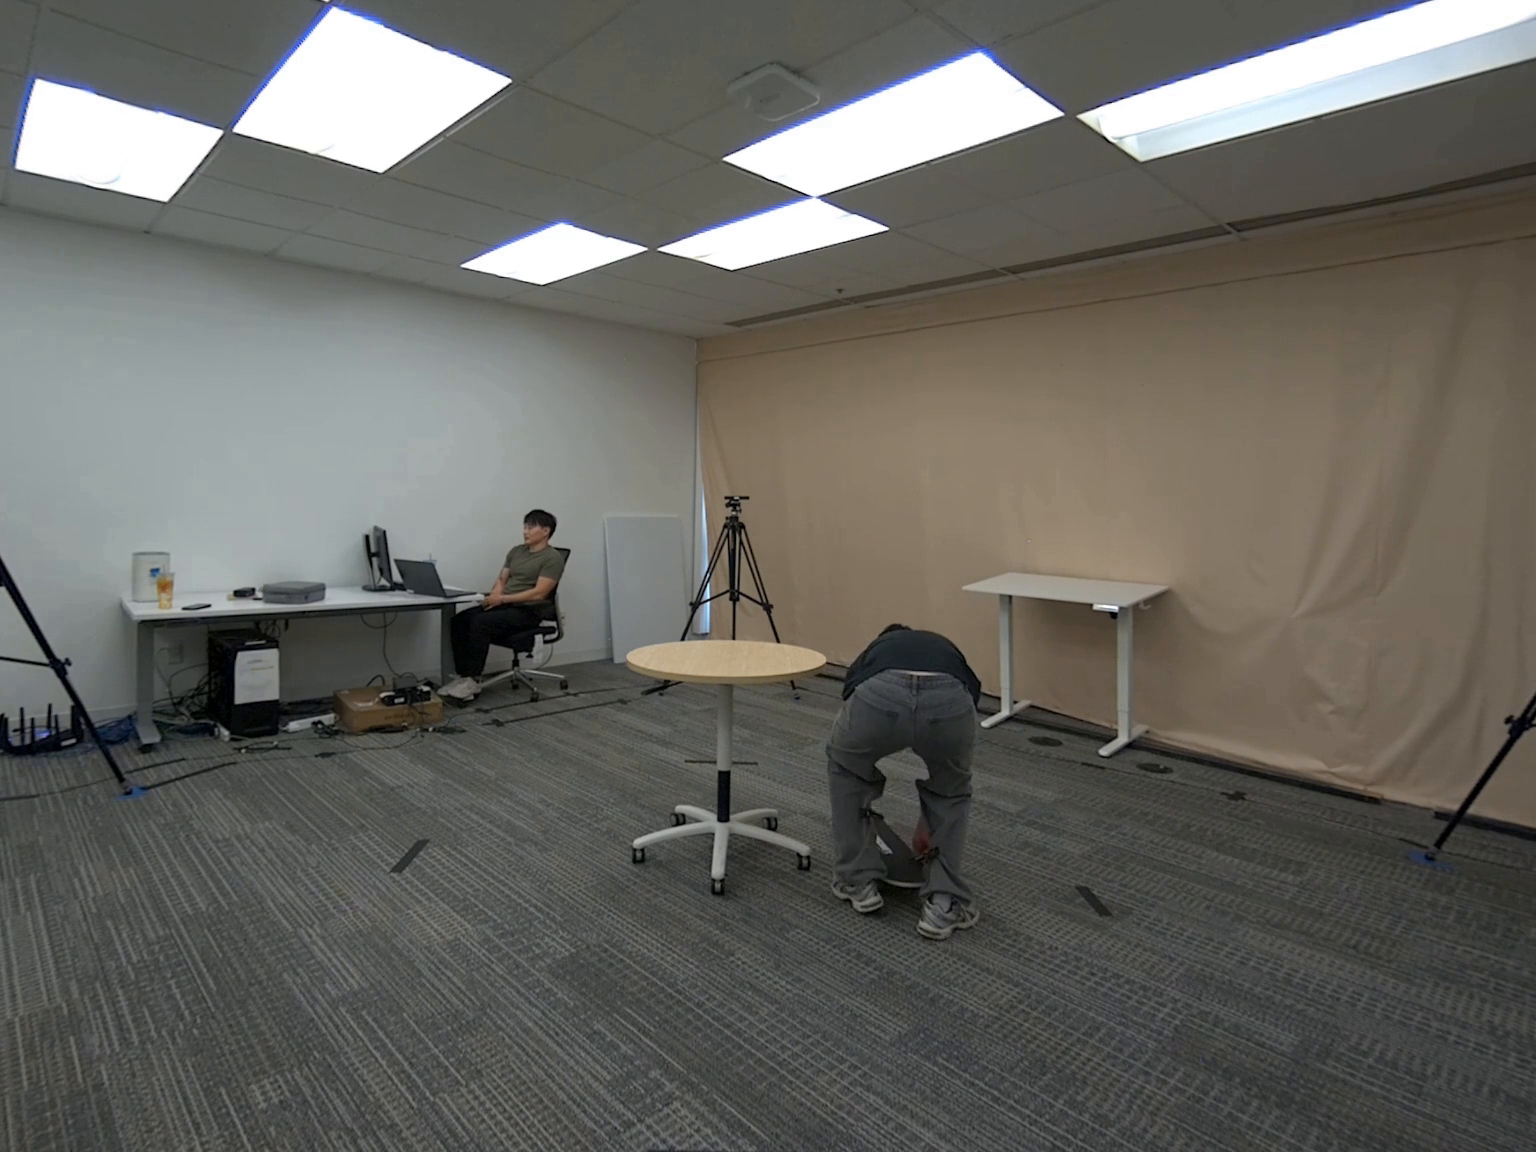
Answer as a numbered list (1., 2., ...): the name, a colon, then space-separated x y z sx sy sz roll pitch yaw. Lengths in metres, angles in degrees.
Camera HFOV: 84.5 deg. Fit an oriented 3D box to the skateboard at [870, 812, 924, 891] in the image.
1. skateboard: 0.417 1.055 3.231 0.192 0.110 0.795 0 5 -12
